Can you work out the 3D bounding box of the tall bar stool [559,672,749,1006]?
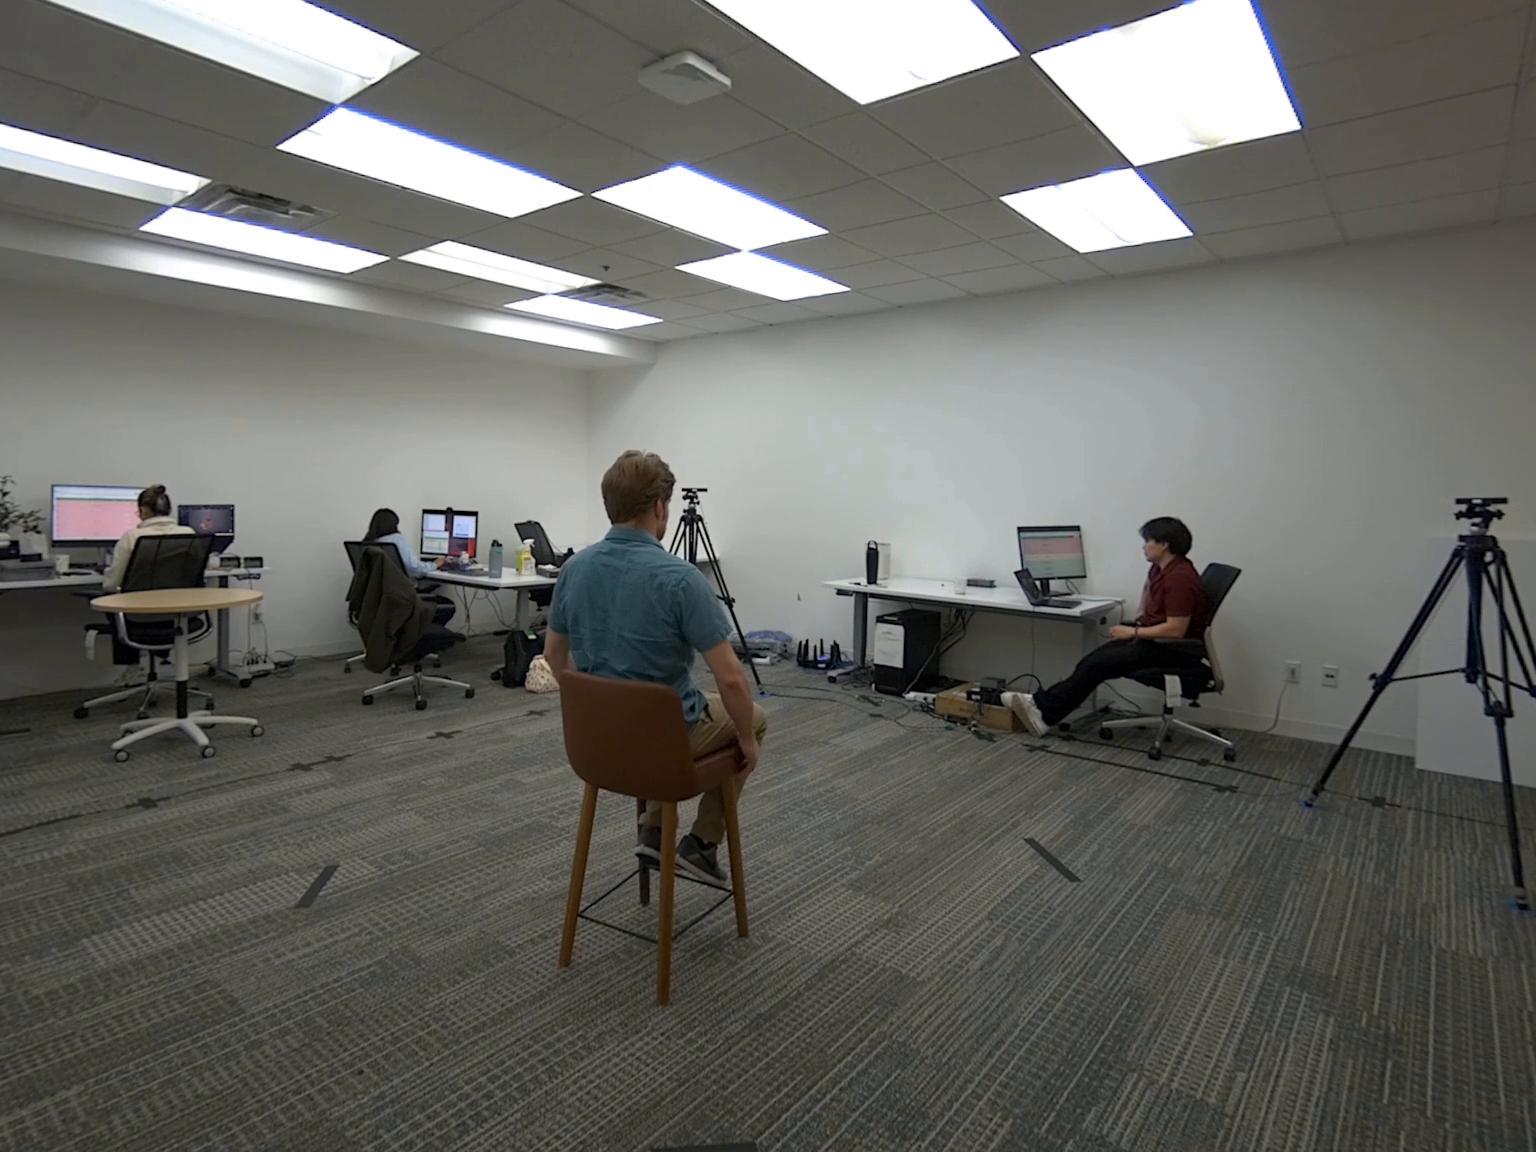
[{"bbox_3d":[-0.349,0.688,2.537,0.470,0.885,0.456,2,6,30],"label":"tall bar stool"}]
